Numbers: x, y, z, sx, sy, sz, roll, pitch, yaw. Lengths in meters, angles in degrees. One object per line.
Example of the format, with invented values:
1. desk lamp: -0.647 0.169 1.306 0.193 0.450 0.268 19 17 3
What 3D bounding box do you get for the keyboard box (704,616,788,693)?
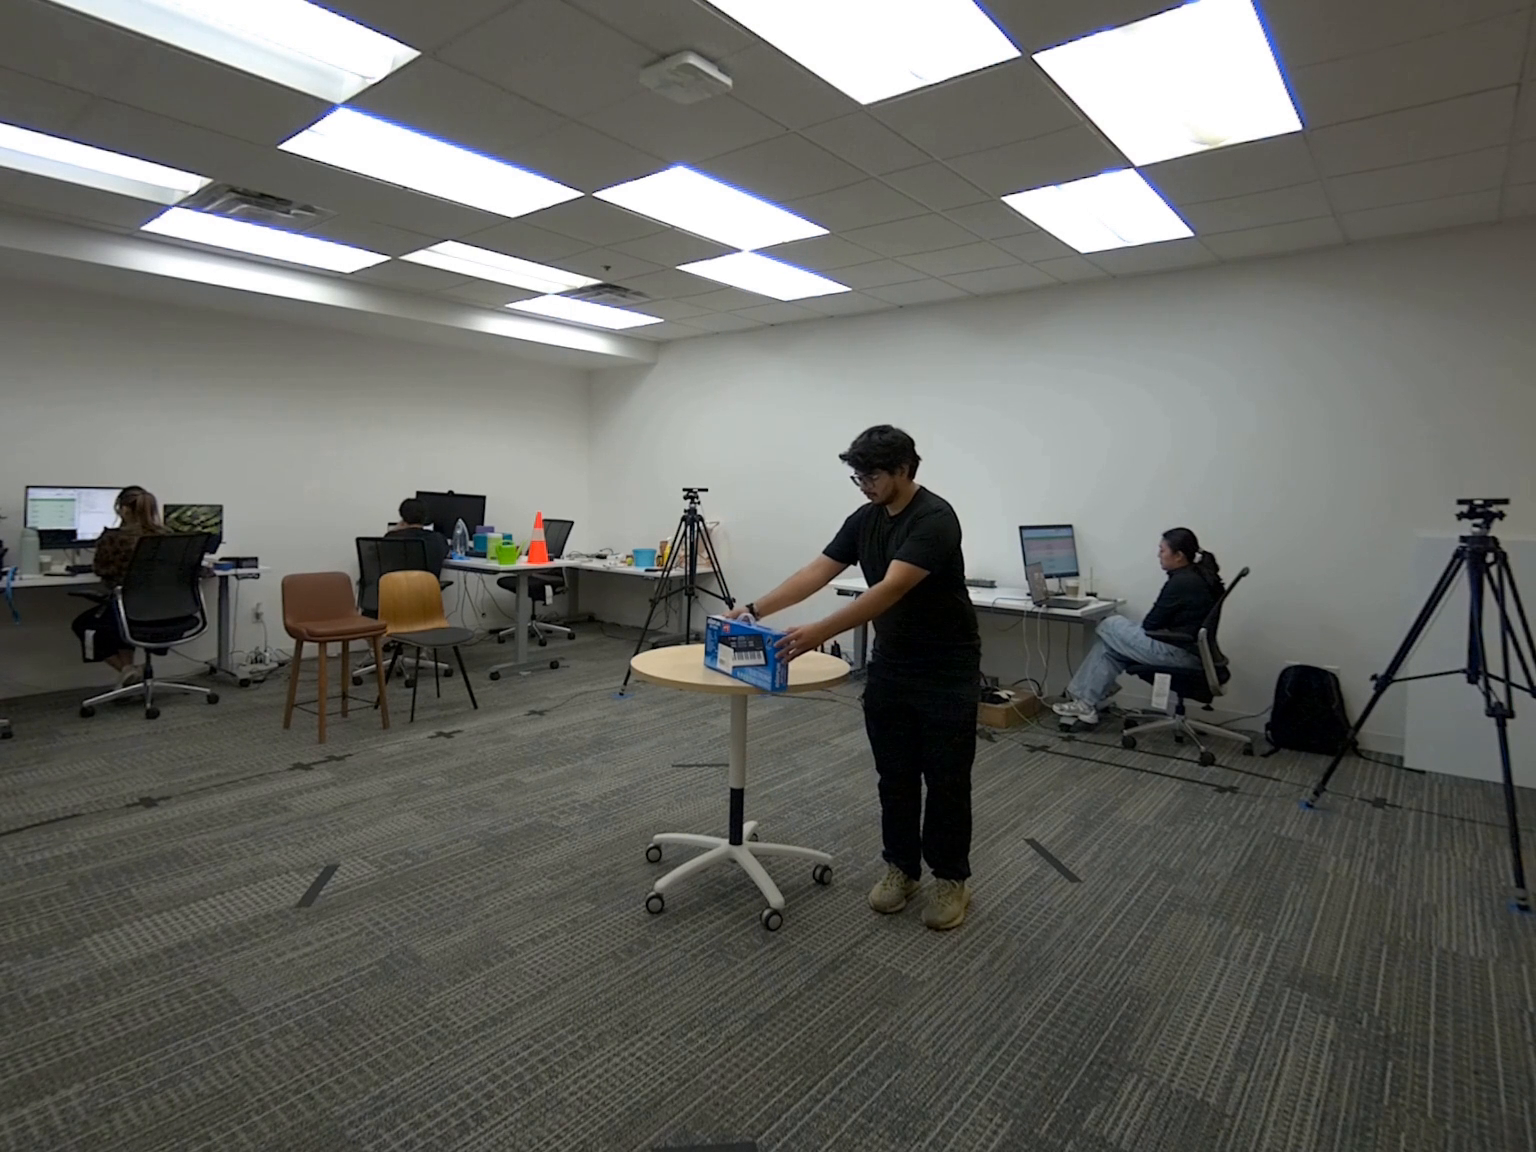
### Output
1. keyboard box: -0.082 0.239 2.717 0.057 0.176 0.450 3 3 -31
